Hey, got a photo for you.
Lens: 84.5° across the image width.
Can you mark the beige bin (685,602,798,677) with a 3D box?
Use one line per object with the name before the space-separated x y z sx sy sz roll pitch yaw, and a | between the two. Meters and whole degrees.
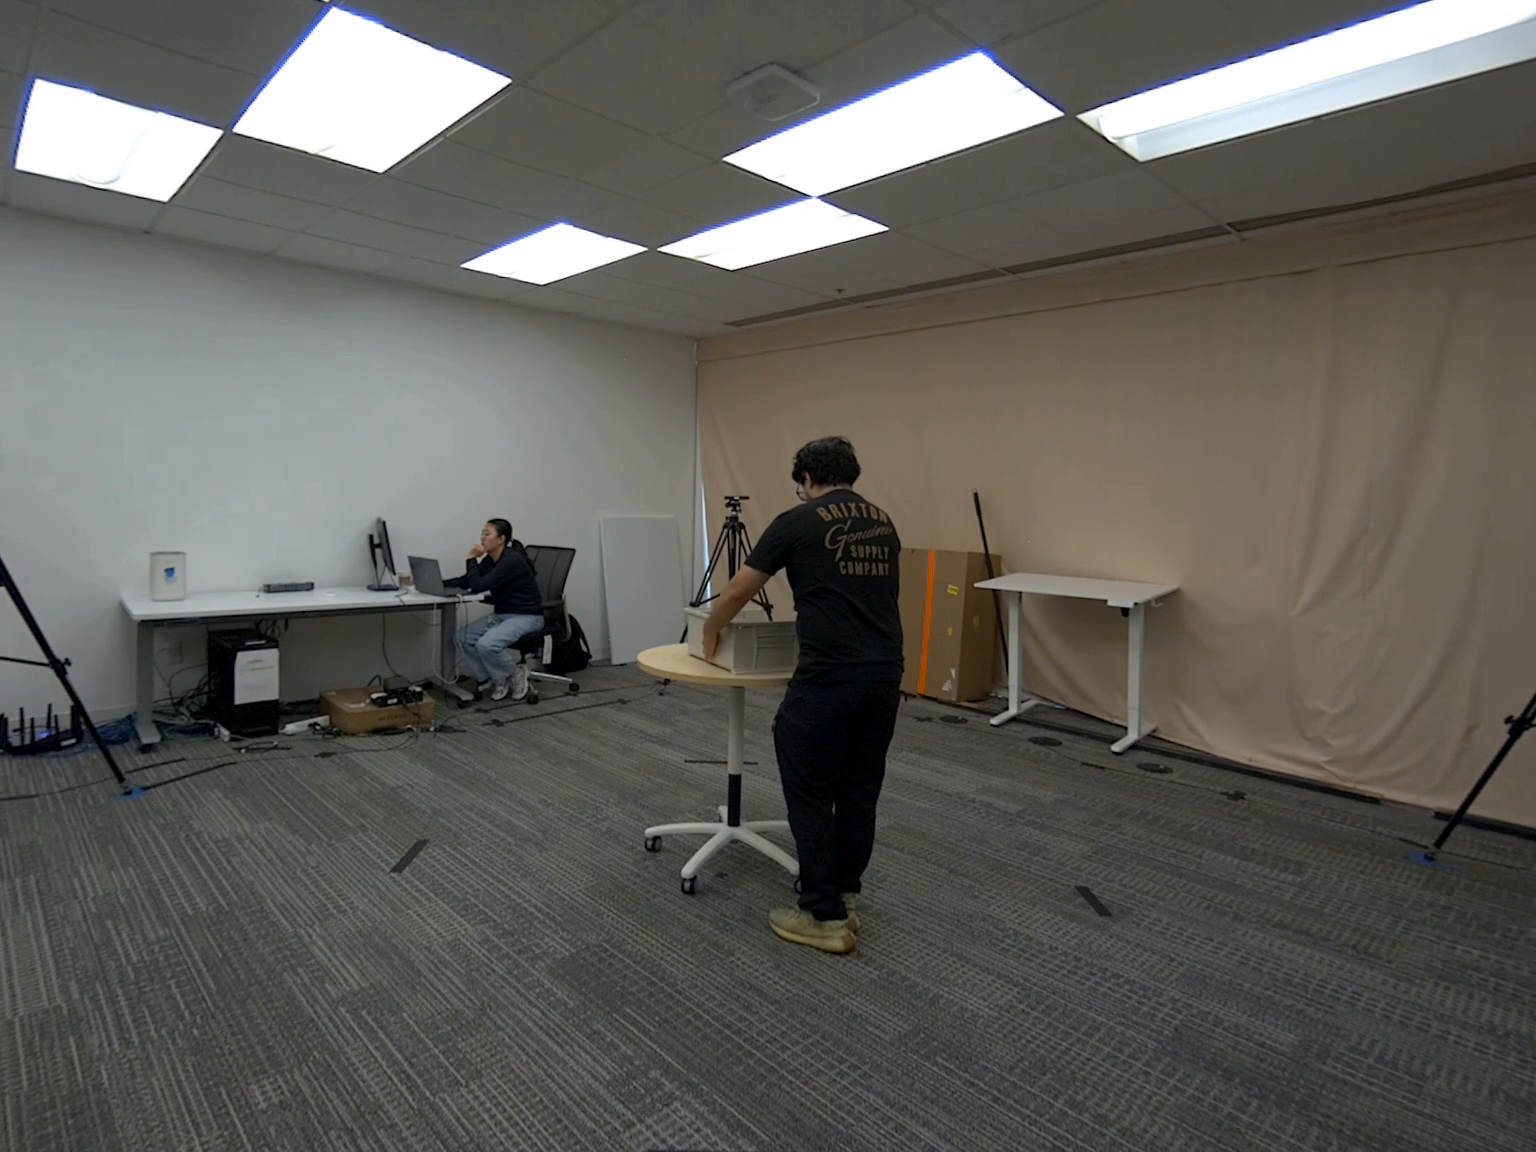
beige bin | -0.063 0.228 3.130 0.370 0.188 0.432 -2 6 -28
